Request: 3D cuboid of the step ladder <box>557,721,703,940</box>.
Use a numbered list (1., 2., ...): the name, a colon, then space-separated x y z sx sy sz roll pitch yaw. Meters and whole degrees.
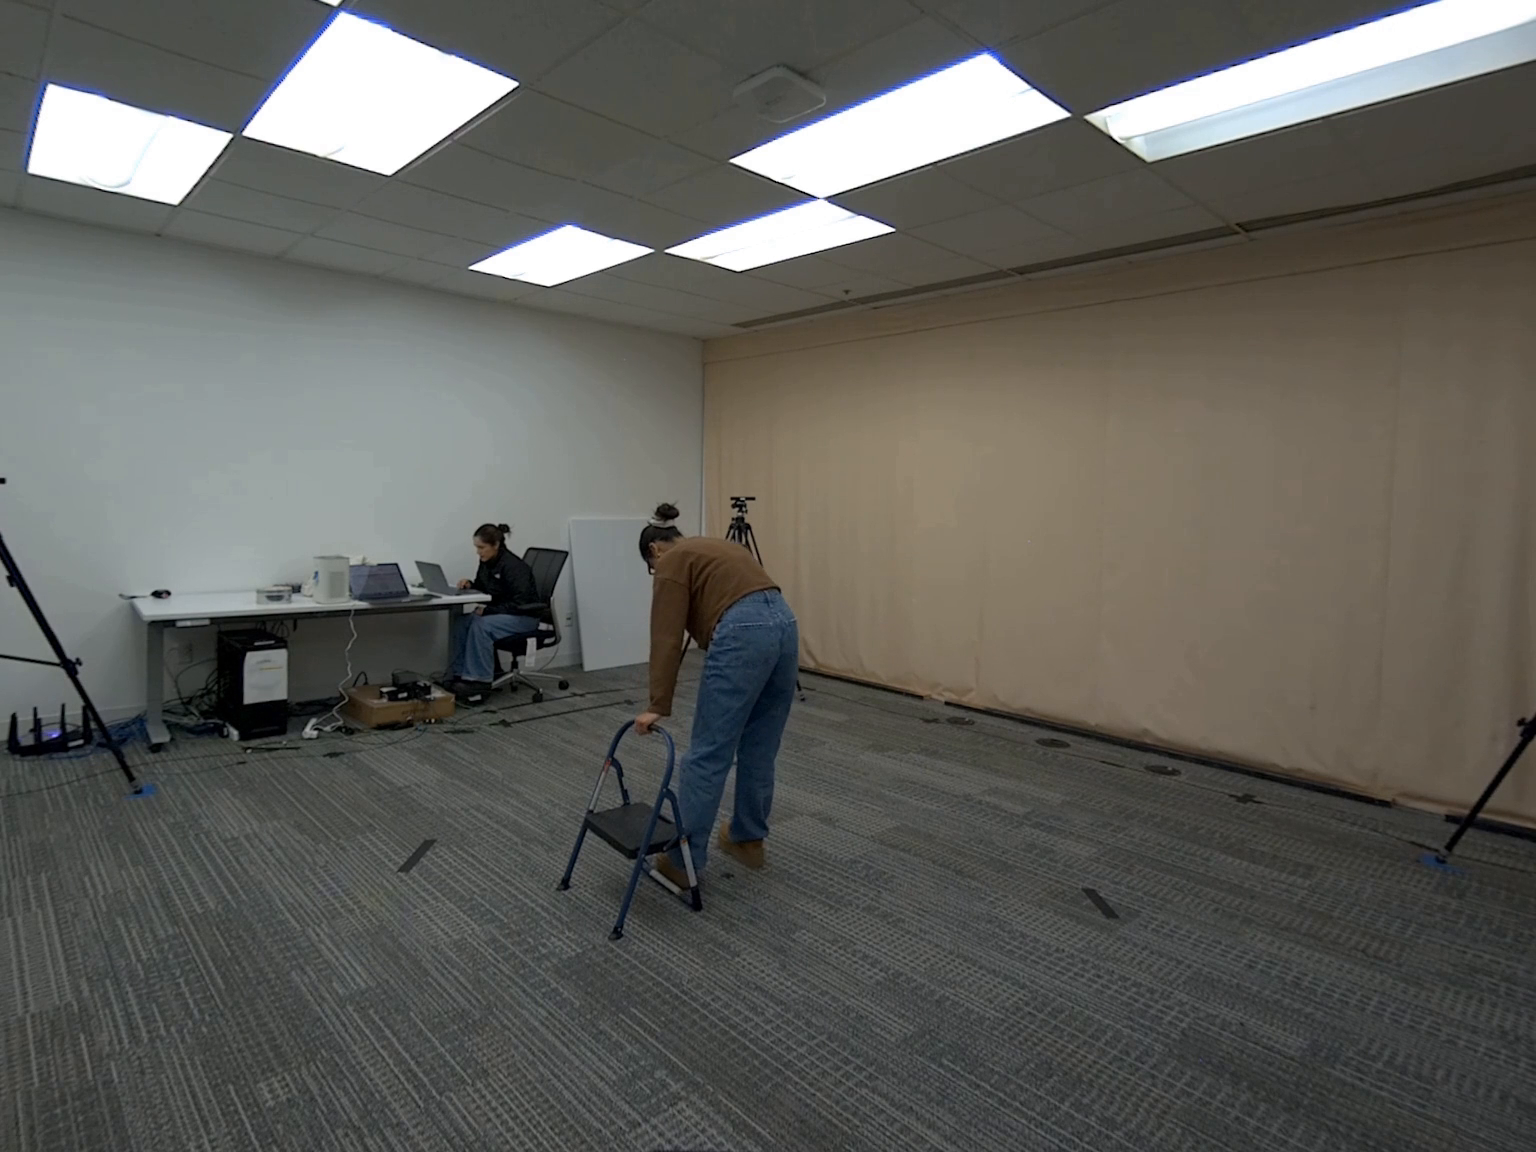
1. step ladder: -0.476 0.816 2.883 0.341 0.605 0.441 0 4 -37
